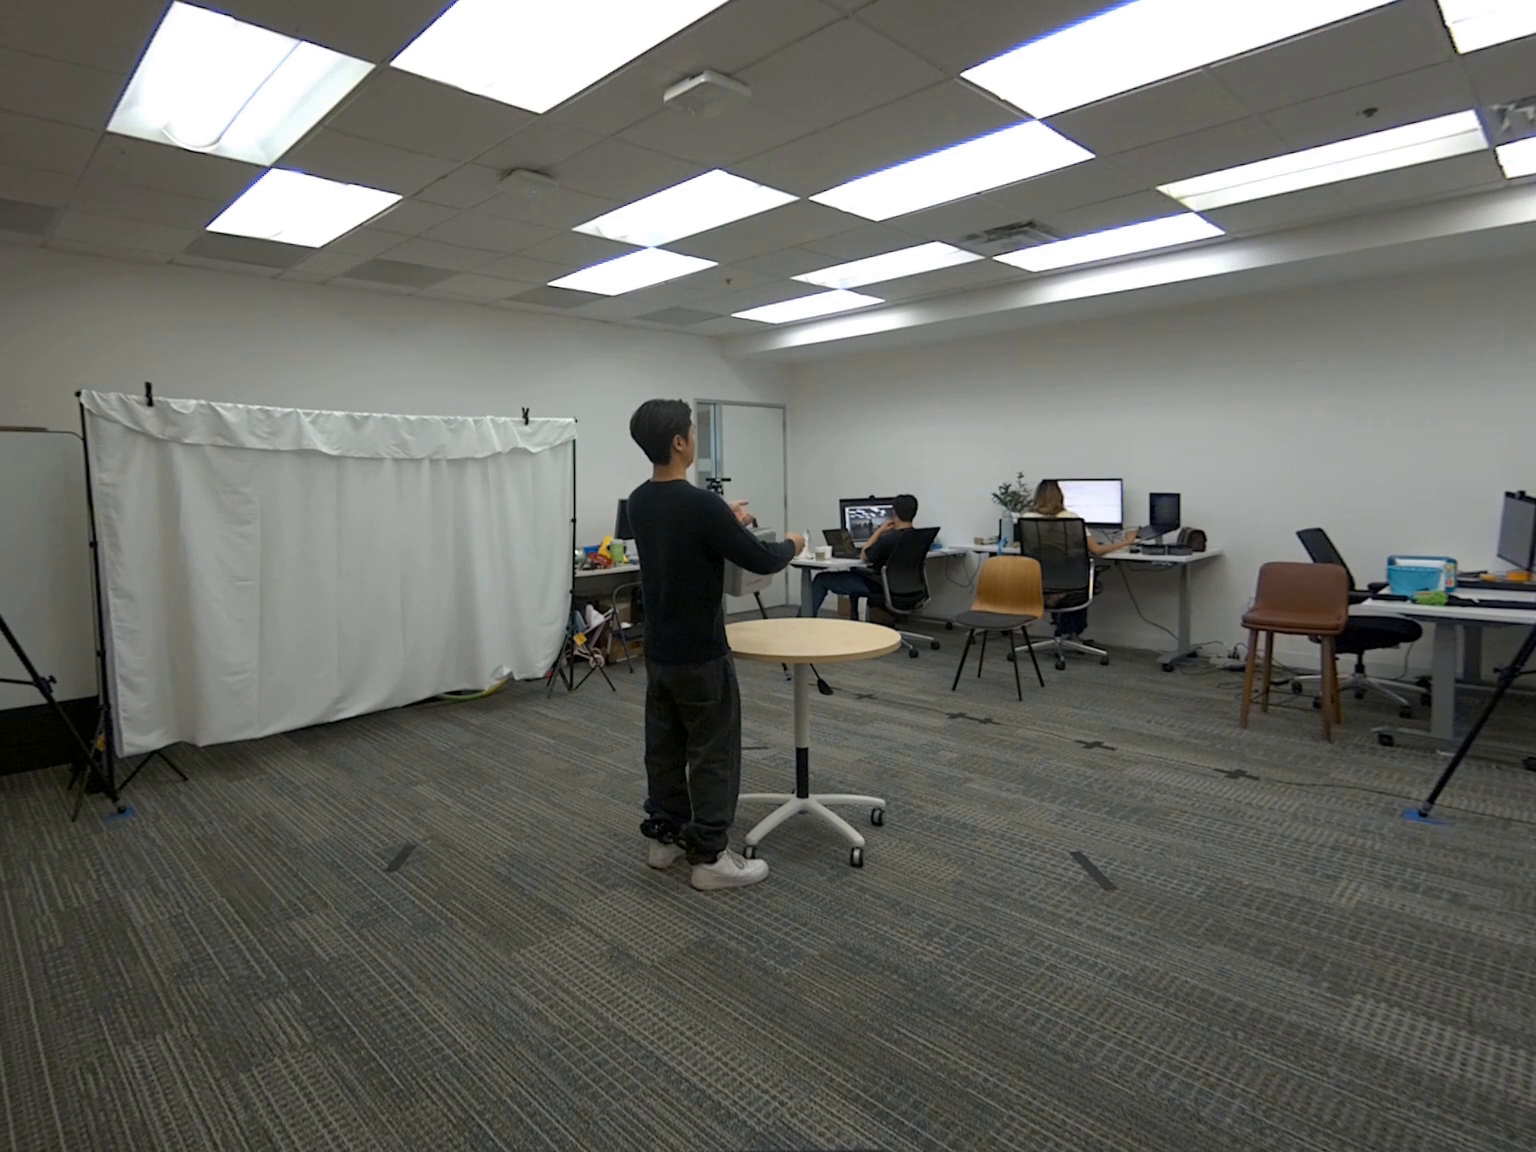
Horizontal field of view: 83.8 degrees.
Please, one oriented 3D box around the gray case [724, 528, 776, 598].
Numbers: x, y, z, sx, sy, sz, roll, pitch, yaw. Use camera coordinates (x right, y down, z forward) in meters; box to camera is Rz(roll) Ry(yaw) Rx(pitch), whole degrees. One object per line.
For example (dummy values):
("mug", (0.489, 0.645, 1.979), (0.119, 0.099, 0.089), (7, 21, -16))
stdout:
("gray case", (-0.076, -0.065, 3.438), (0.107, 0.257, 0.252), (11, 16, 31))
